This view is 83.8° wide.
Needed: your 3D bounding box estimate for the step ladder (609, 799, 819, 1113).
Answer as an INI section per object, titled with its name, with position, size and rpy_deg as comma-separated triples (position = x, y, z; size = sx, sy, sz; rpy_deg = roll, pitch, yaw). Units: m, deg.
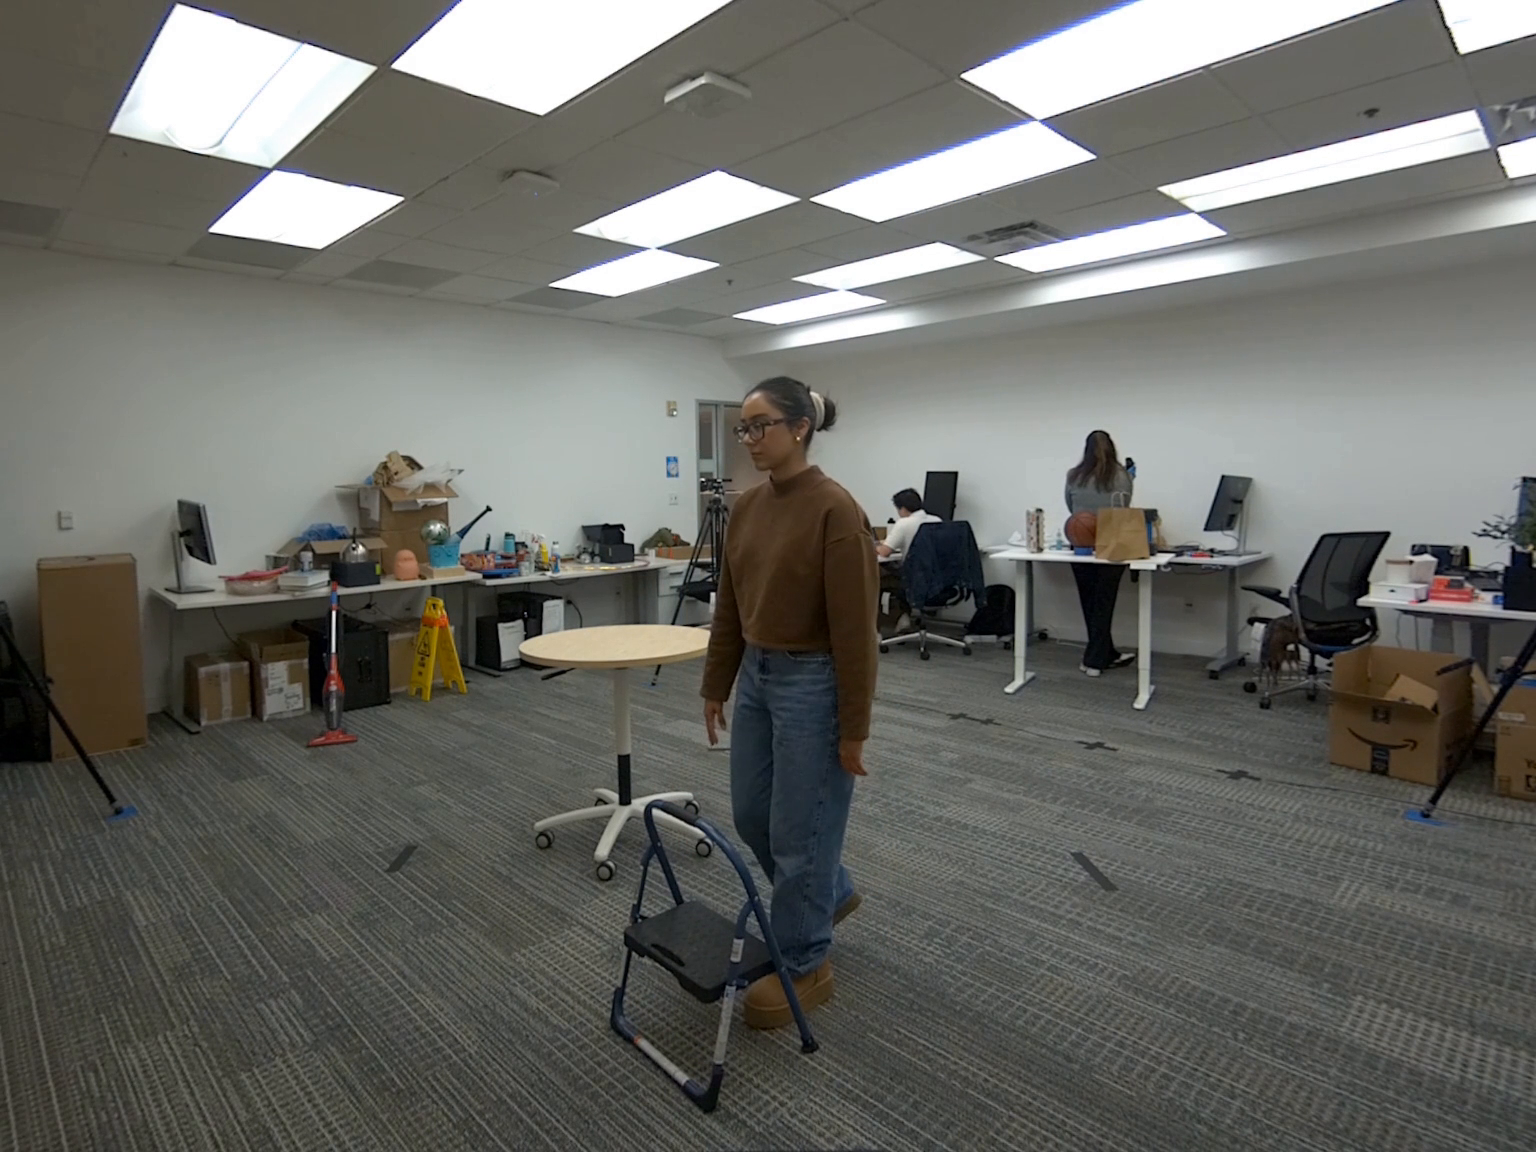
[step ladder]
position = -0.145, 0.867, 2.127
size = 0.340, 0.604, 0.444
rpy_deg = -4, 6, -42
